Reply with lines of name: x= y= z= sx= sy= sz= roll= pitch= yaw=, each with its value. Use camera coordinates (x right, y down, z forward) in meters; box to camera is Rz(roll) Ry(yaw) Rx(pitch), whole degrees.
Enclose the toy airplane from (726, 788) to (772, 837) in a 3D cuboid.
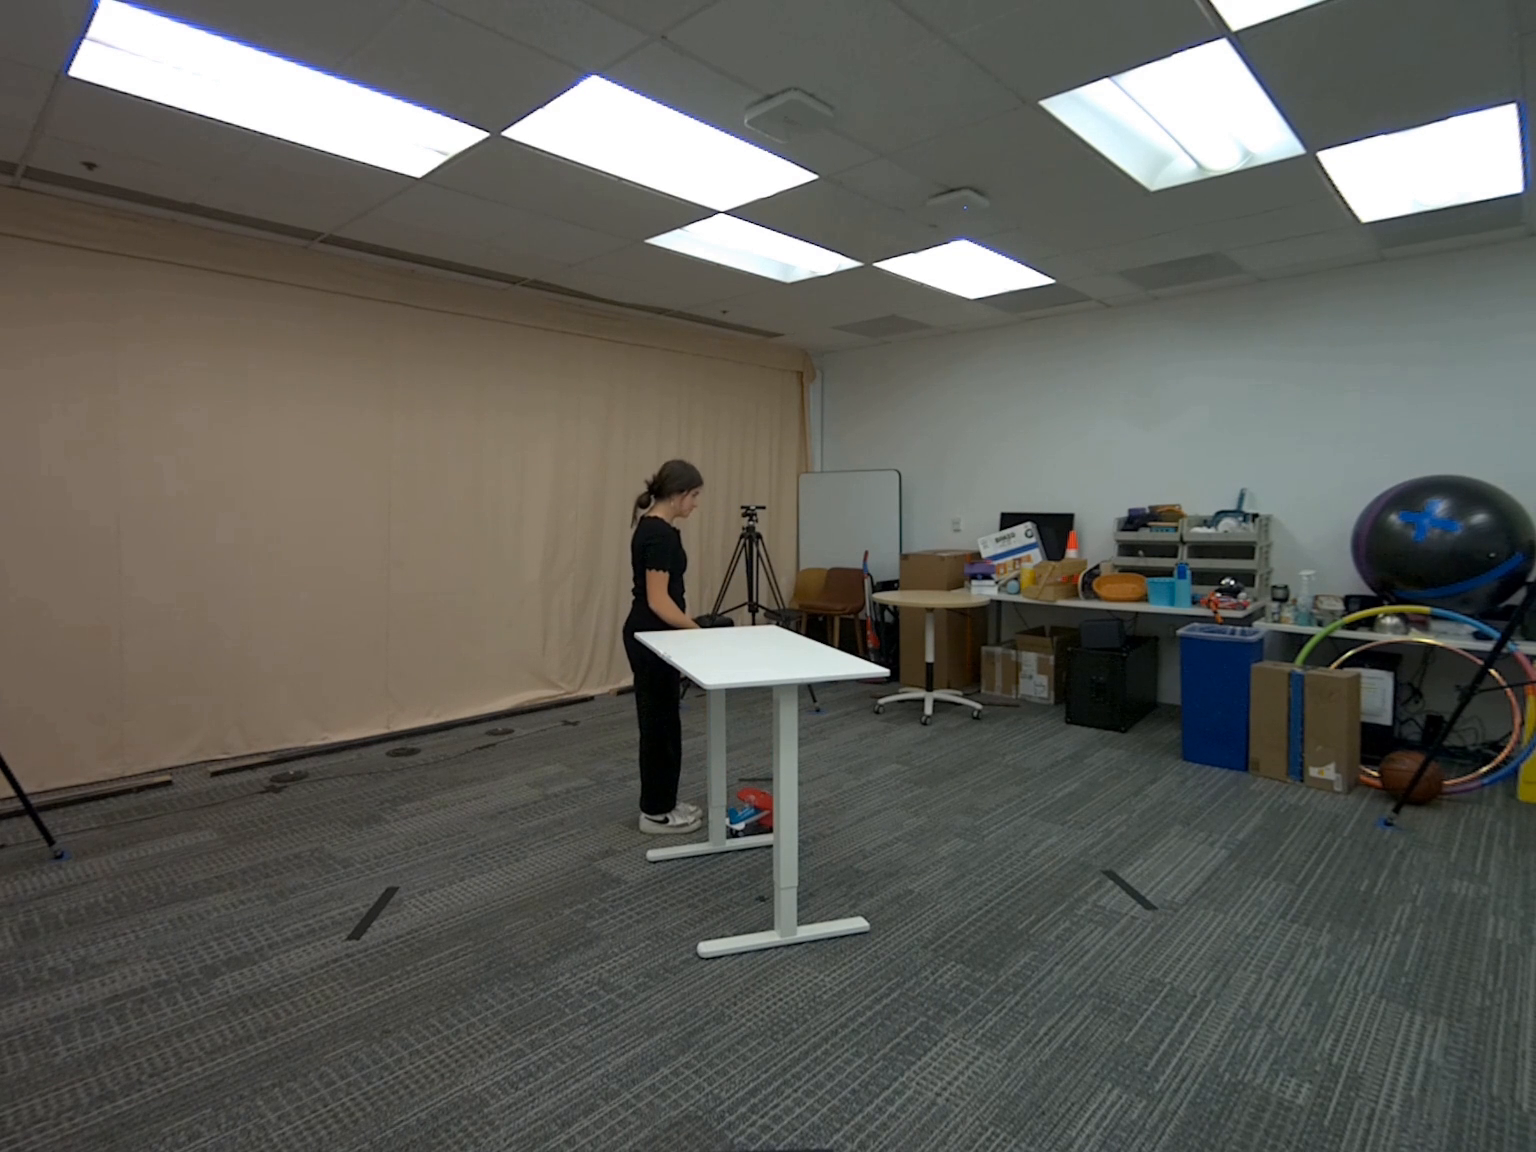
toy airplane: x=-0.048 y=1.020 z=3.577 sx=0.257 sy=0.156 sz=0.253 roll=2 pitch=3 yaw=24
